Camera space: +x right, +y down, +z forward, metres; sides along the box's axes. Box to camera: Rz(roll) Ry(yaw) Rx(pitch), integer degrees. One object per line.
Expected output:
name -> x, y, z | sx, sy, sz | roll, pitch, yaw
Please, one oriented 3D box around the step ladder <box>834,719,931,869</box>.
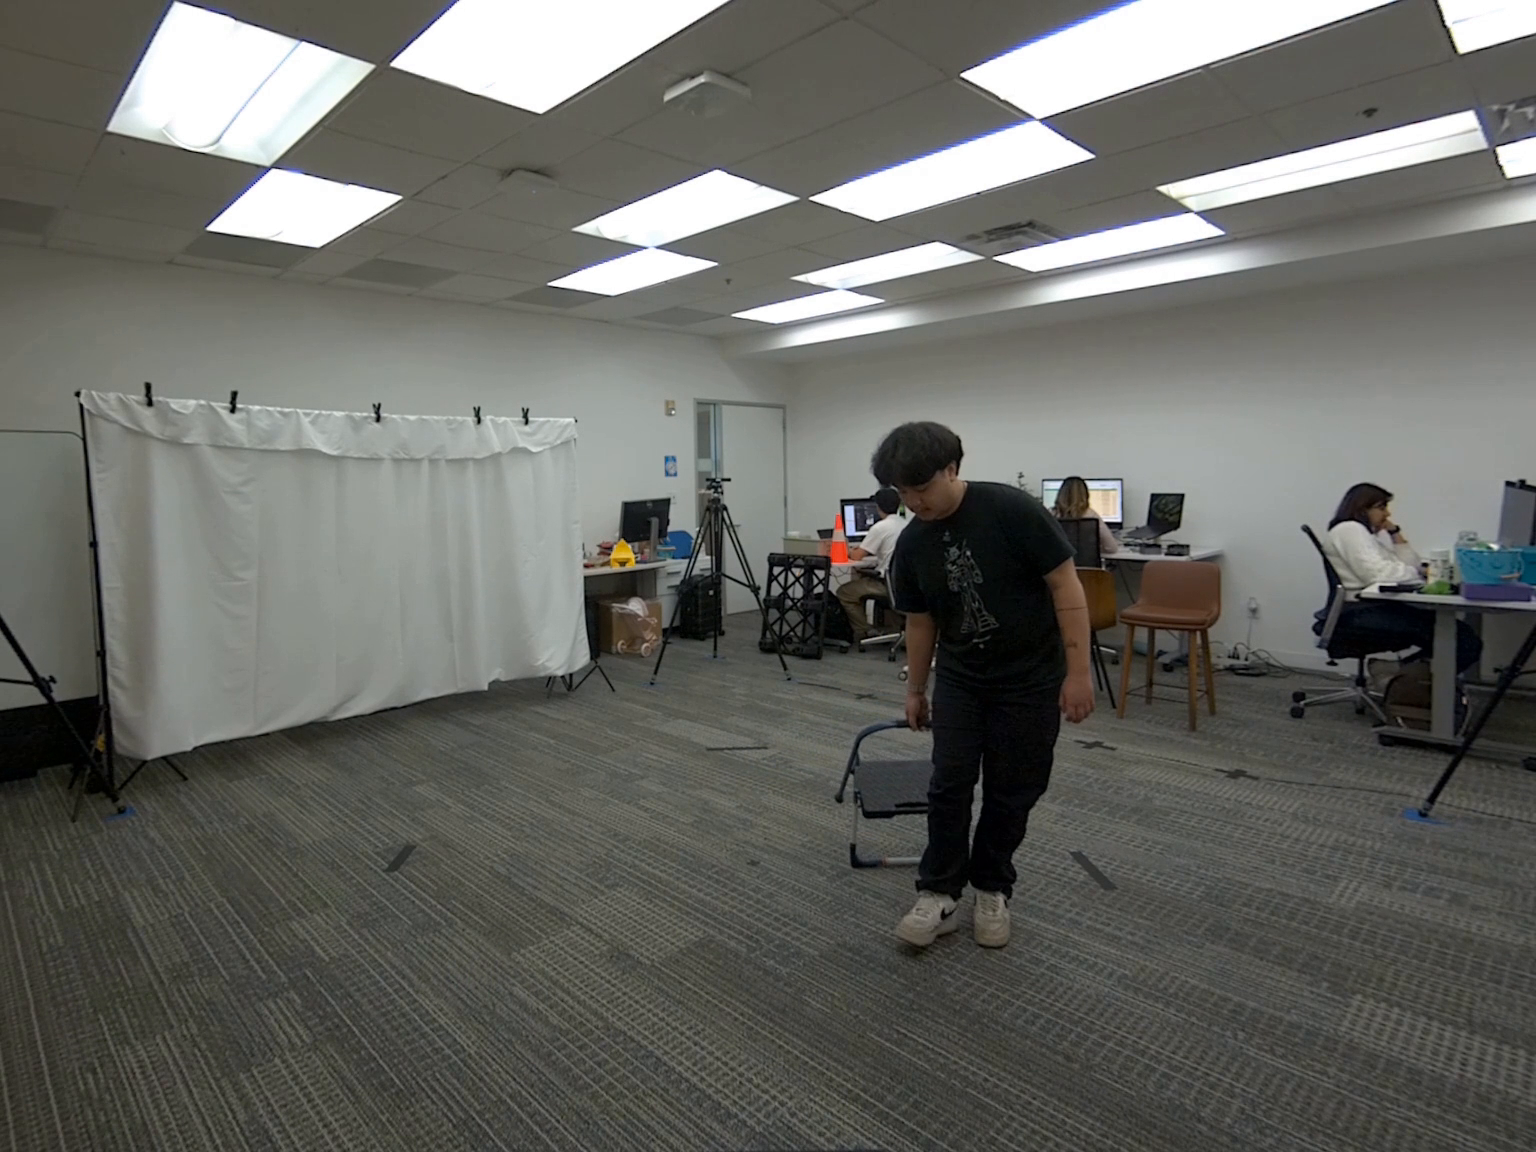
step ladder -> 0.496, 0.700, 3.057 | 0.429, 0.592, 0.359 | -2, 31, -4
